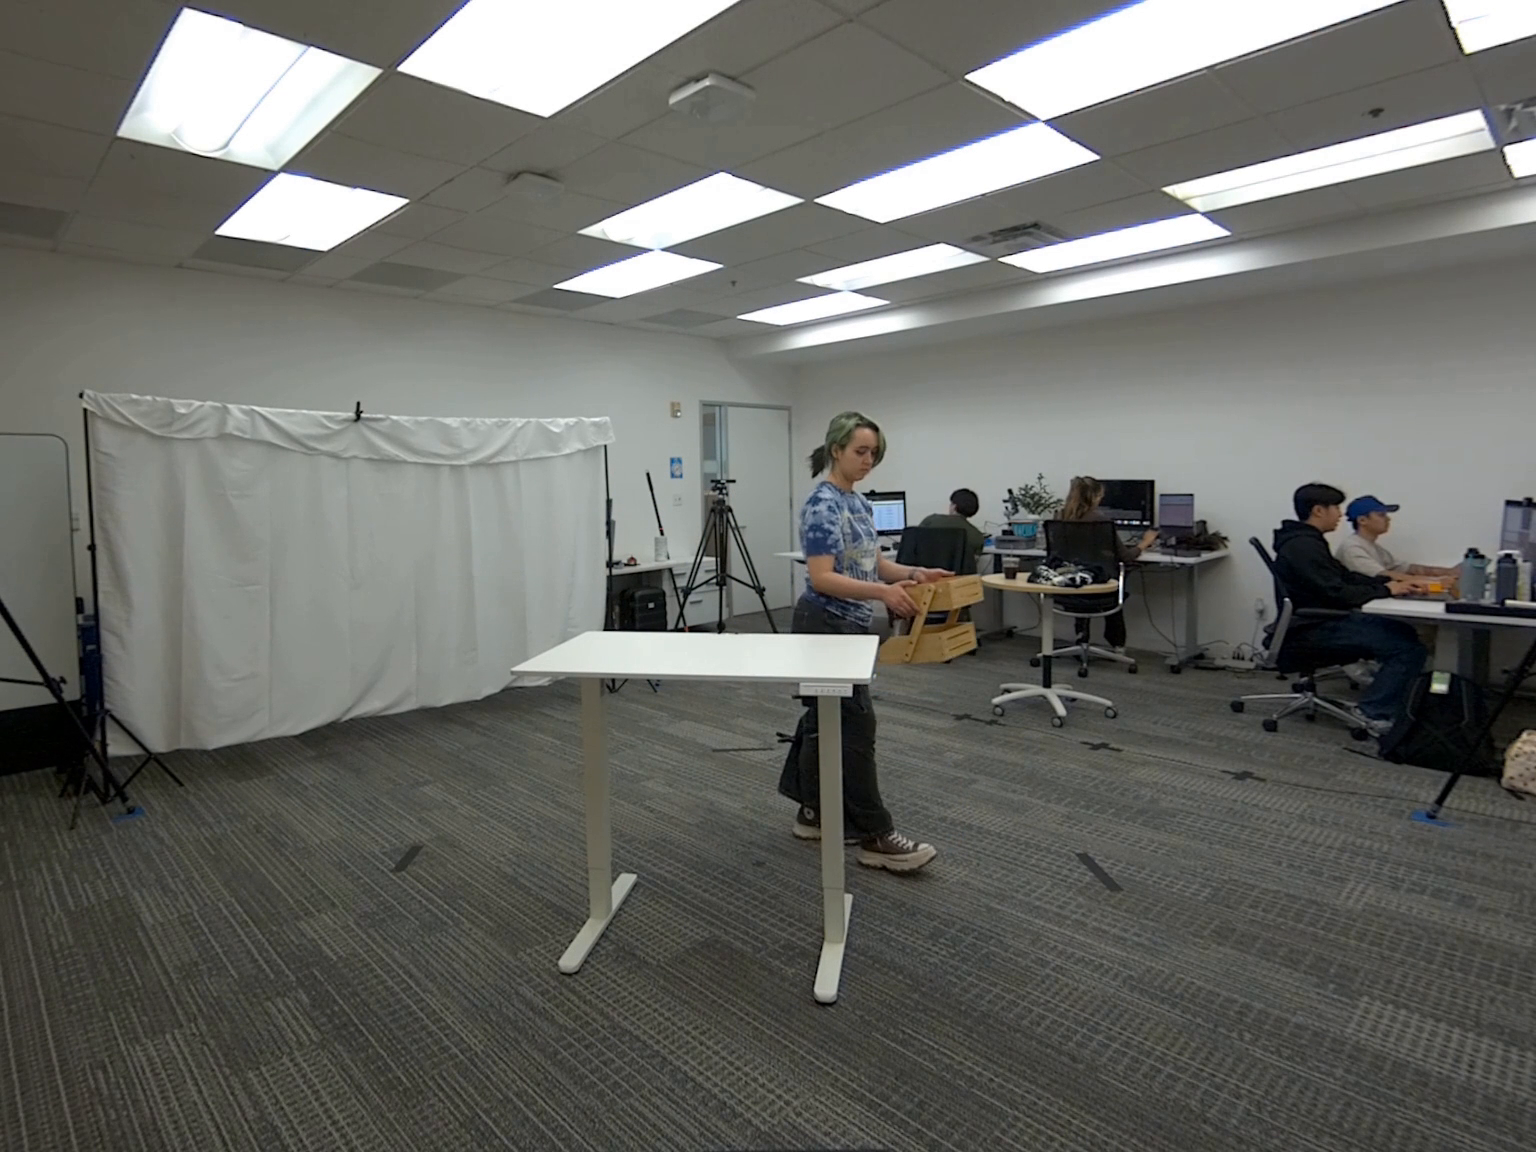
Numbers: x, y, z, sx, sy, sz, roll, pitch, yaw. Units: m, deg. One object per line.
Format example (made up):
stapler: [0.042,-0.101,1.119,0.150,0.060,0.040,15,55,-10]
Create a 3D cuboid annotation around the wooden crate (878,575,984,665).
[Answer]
wooden crate: [0.572,0.147,2.995,0.309,0.274,0.316,-8,-1,35]
